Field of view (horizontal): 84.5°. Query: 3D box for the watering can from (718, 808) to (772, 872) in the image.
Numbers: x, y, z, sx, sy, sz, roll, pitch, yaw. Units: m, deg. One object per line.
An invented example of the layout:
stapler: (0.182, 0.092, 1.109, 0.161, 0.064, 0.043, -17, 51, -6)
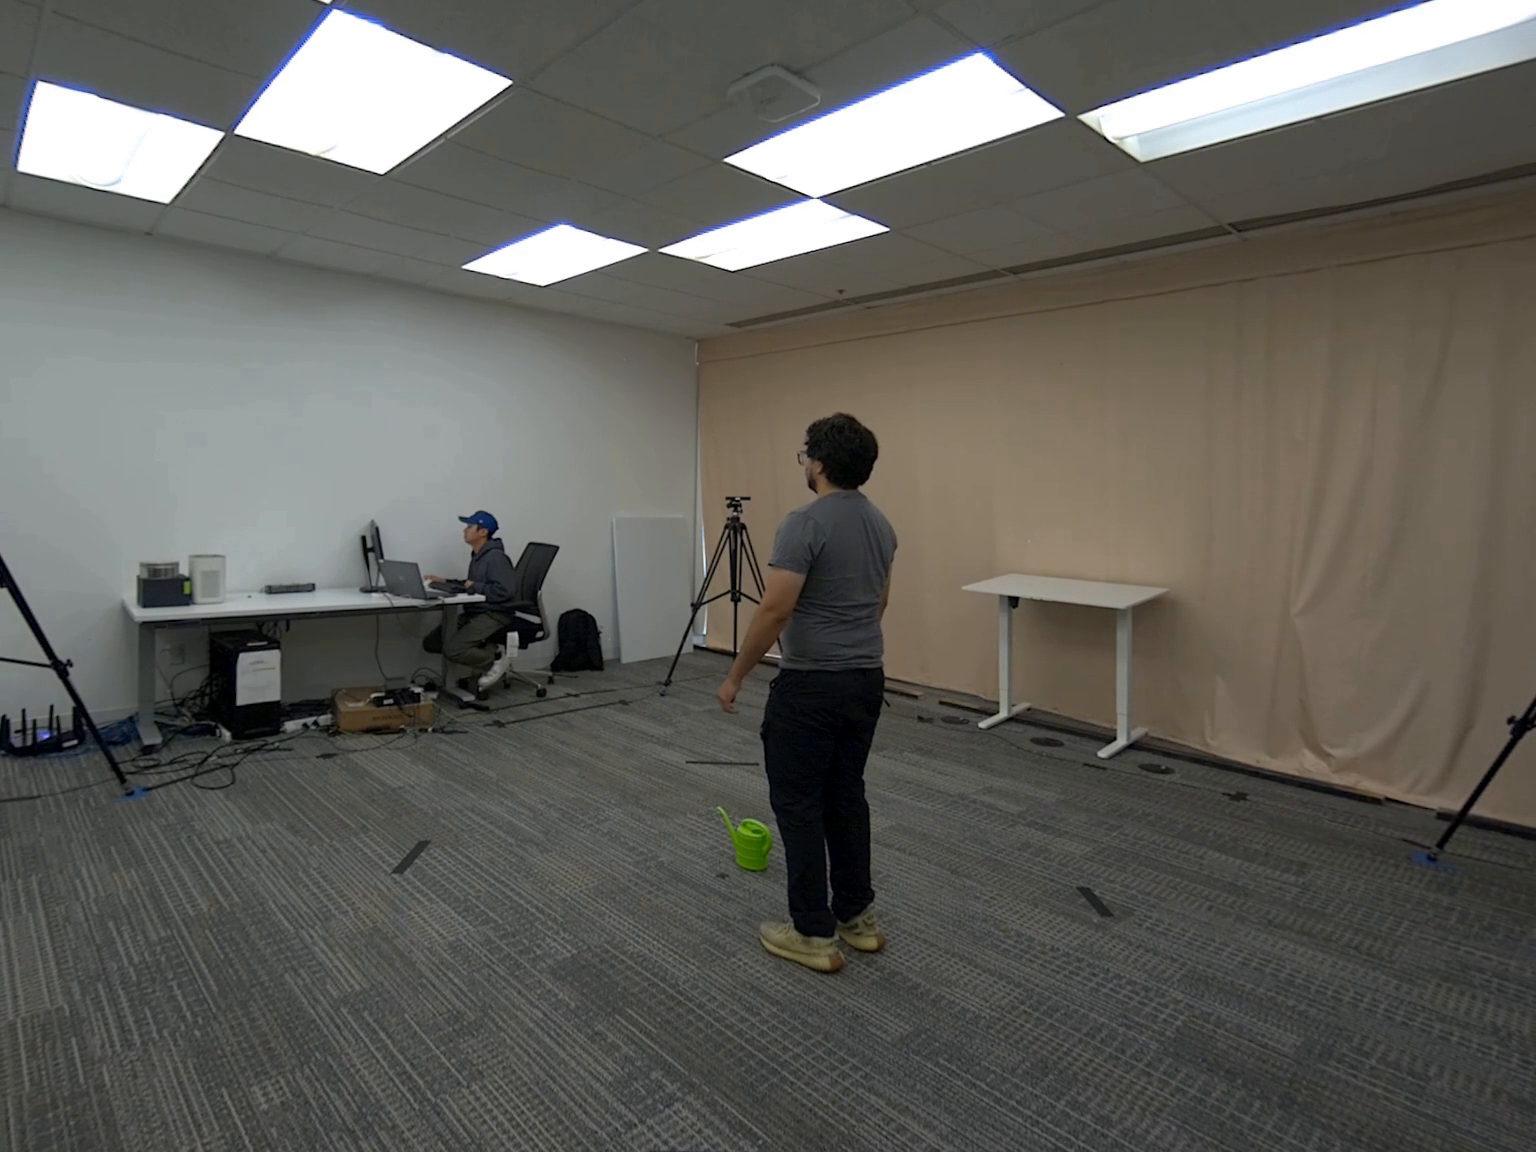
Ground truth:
watering can: (-0.093, 1.004, 3.232, 0.096, 0.176, 0.285, 1, 6, -35)
